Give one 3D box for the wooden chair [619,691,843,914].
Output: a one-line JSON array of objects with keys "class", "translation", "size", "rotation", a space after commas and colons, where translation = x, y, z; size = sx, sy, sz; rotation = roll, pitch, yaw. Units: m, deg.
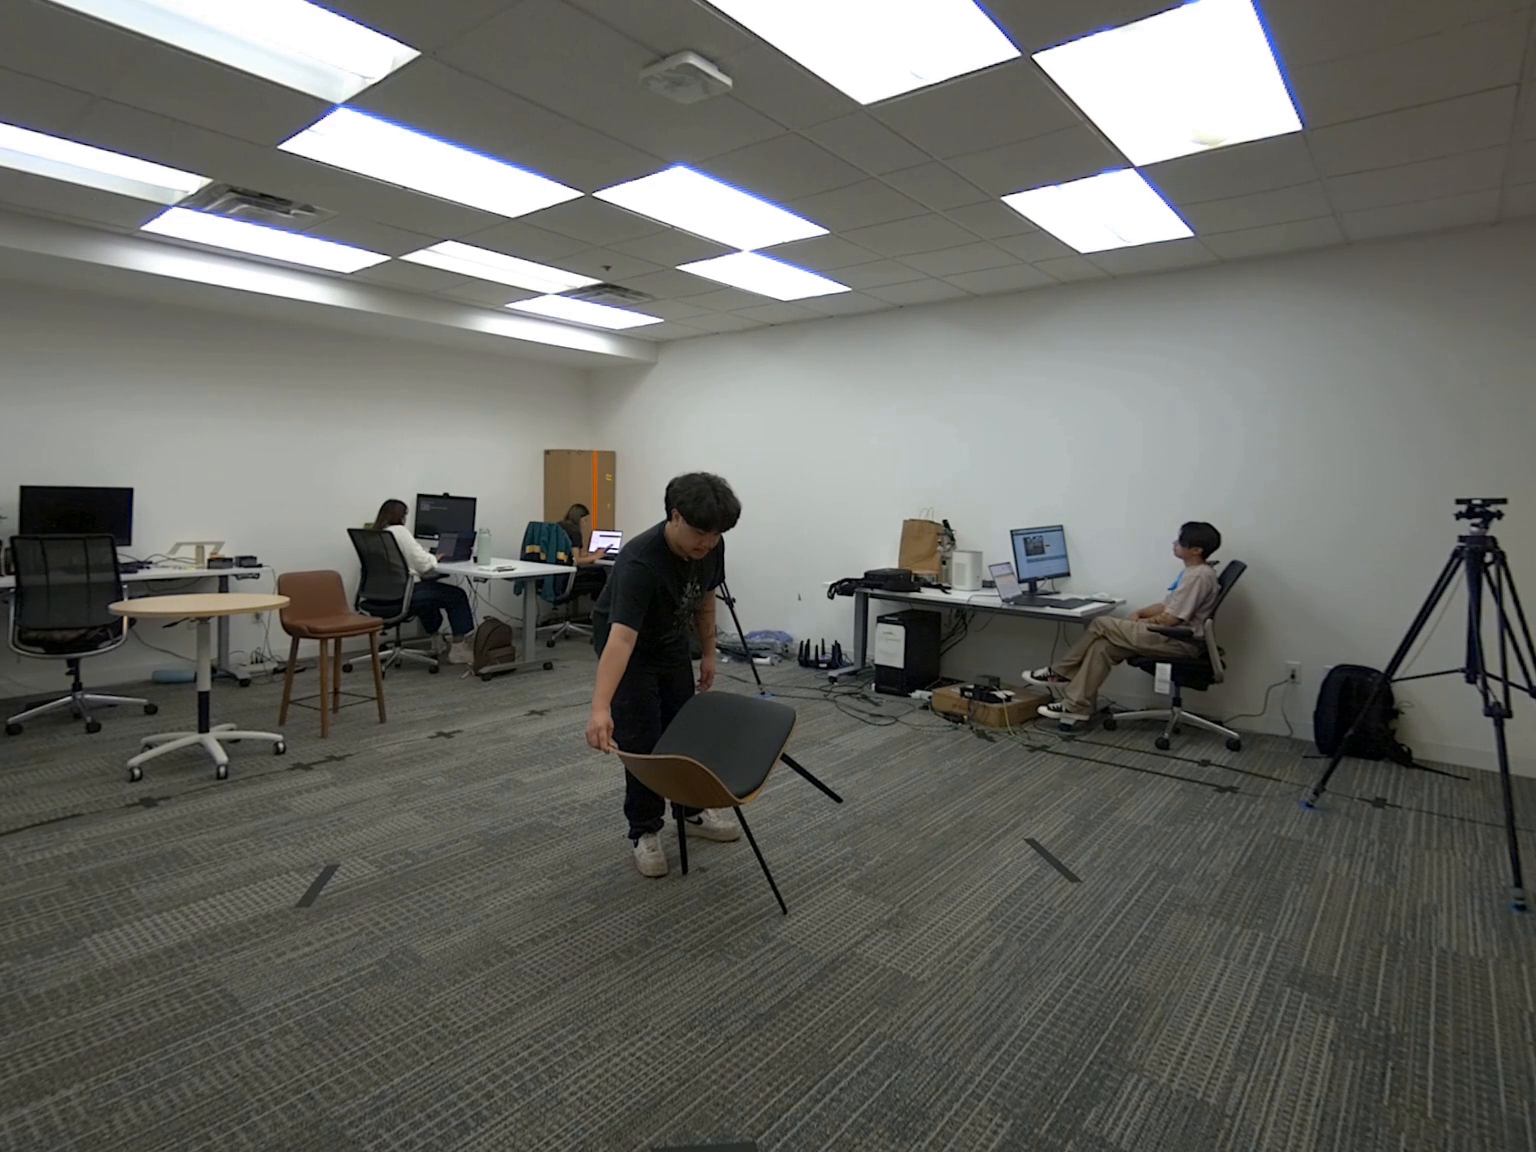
[{"class": "wooden chair", "translation": [-0.164, 0.619, 2.840], "size": [0.494, 0.844, 0.526], "rotation": [3, 47, 37]}]
